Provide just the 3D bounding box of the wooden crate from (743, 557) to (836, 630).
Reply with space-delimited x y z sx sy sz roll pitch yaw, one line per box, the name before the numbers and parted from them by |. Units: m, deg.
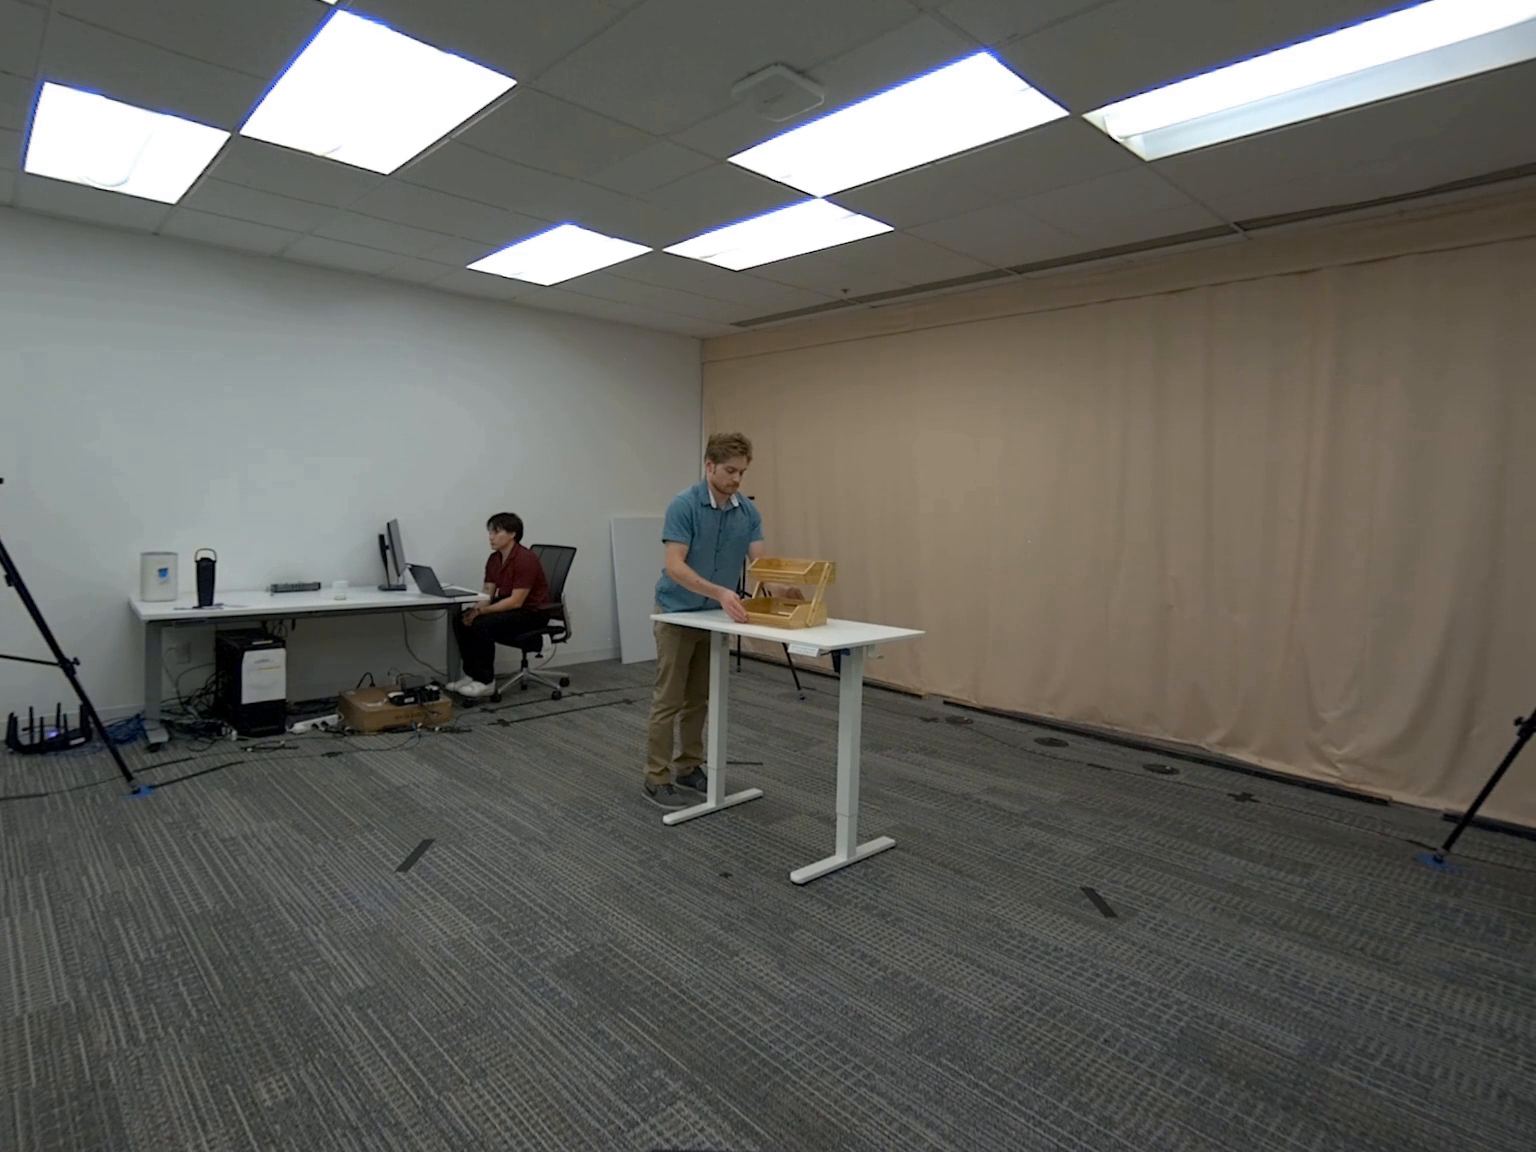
wooden crate | 0.057 0.062 3.459 0.332 0.273 0.295 4 4 40
